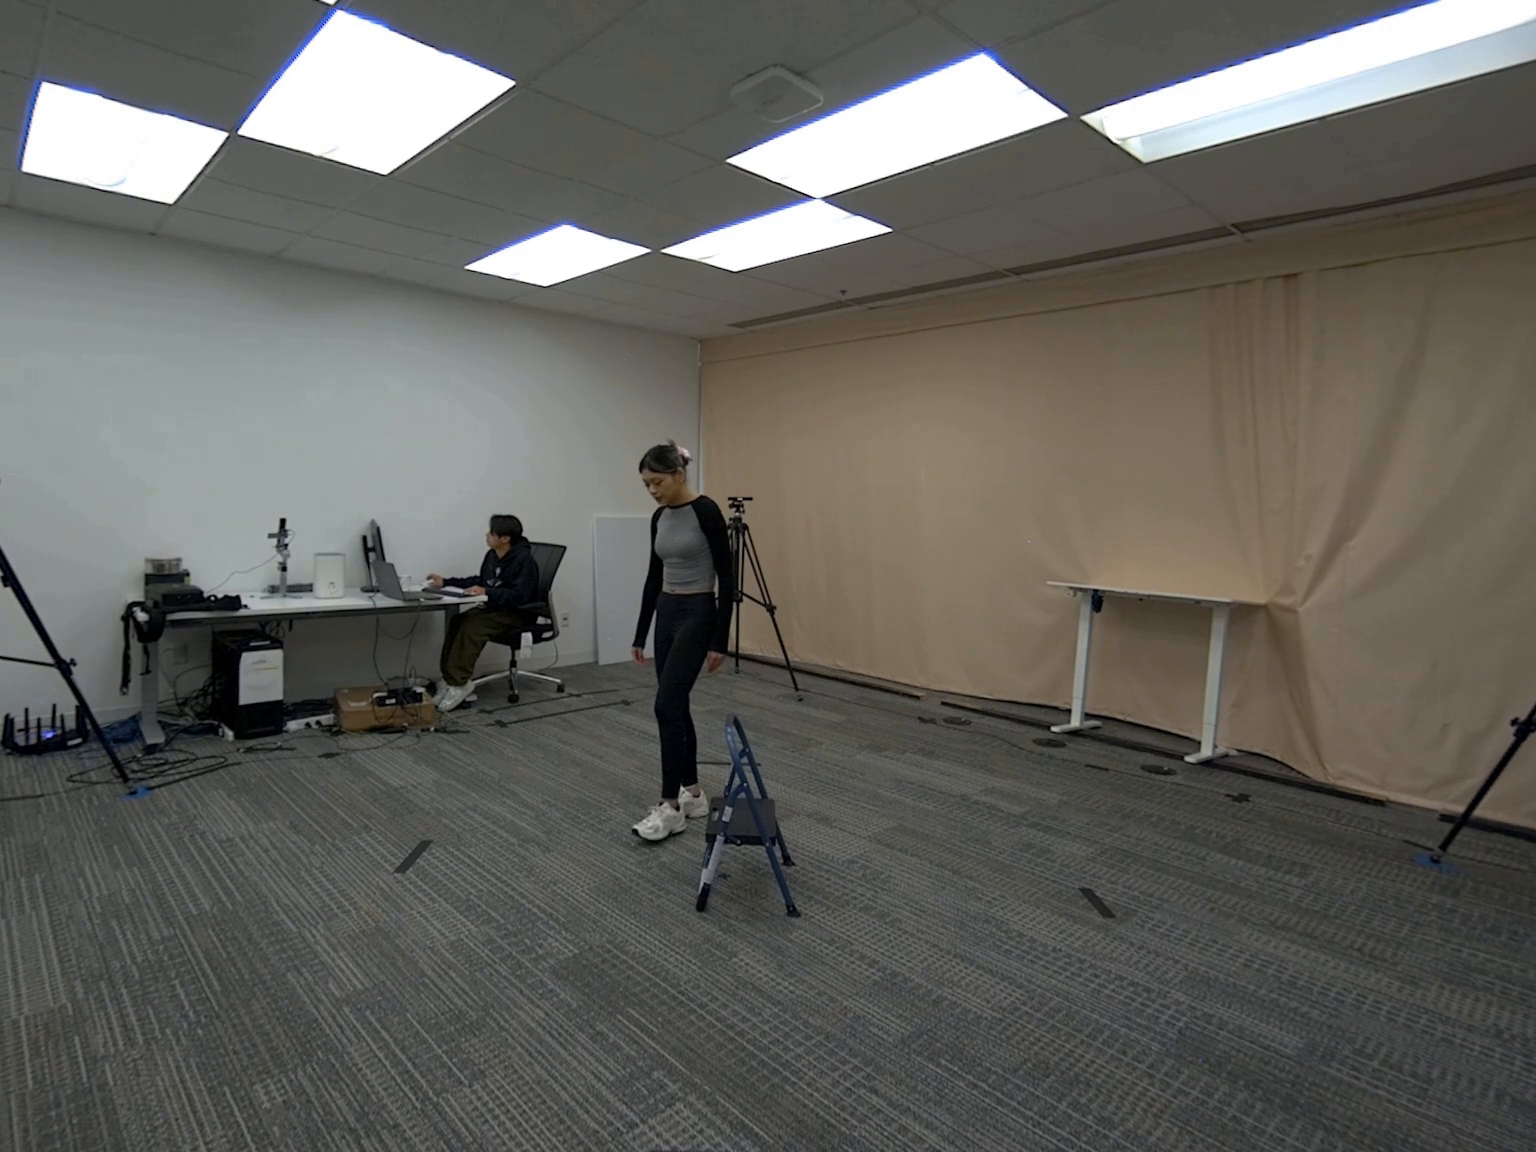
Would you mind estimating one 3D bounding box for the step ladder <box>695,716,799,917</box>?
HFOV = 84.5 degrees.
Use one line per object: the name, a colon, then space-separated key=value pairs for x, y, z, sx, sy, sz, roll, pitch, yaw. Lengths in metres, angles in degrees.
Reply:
step ladder: x=-0.071 y=0.818 z=3.007 sx=0.349 sy=0.604 sz=0.431 roll=2 pitch=4 yaw=0
